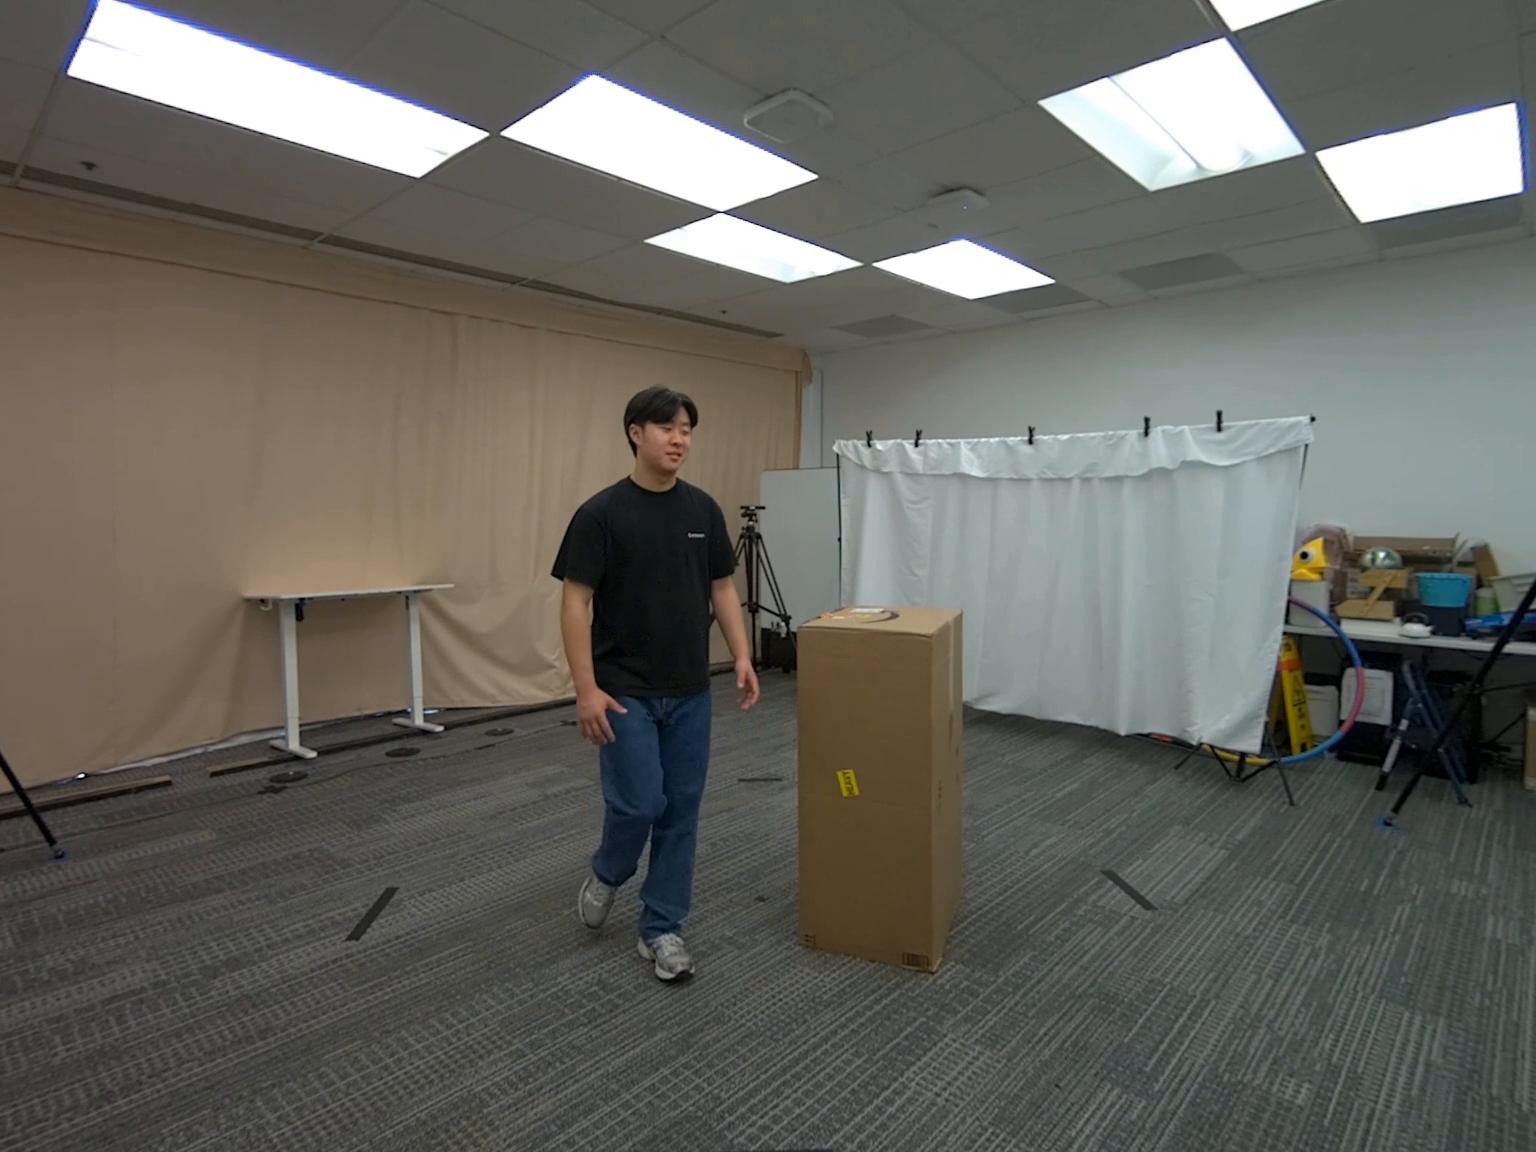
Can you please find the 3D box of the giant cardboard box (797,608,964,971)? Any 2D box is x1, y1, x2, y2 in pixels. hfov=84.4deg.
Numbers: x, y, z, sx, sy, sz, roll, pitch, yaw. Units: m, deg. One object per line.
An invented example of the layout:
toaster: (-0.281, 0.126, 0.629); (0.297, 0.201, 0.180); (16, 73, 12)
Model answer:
giant cardboard box: (0.394, 0.644, 2.818); (0.458, 1.025, 0.571); (0, 4, 24)
